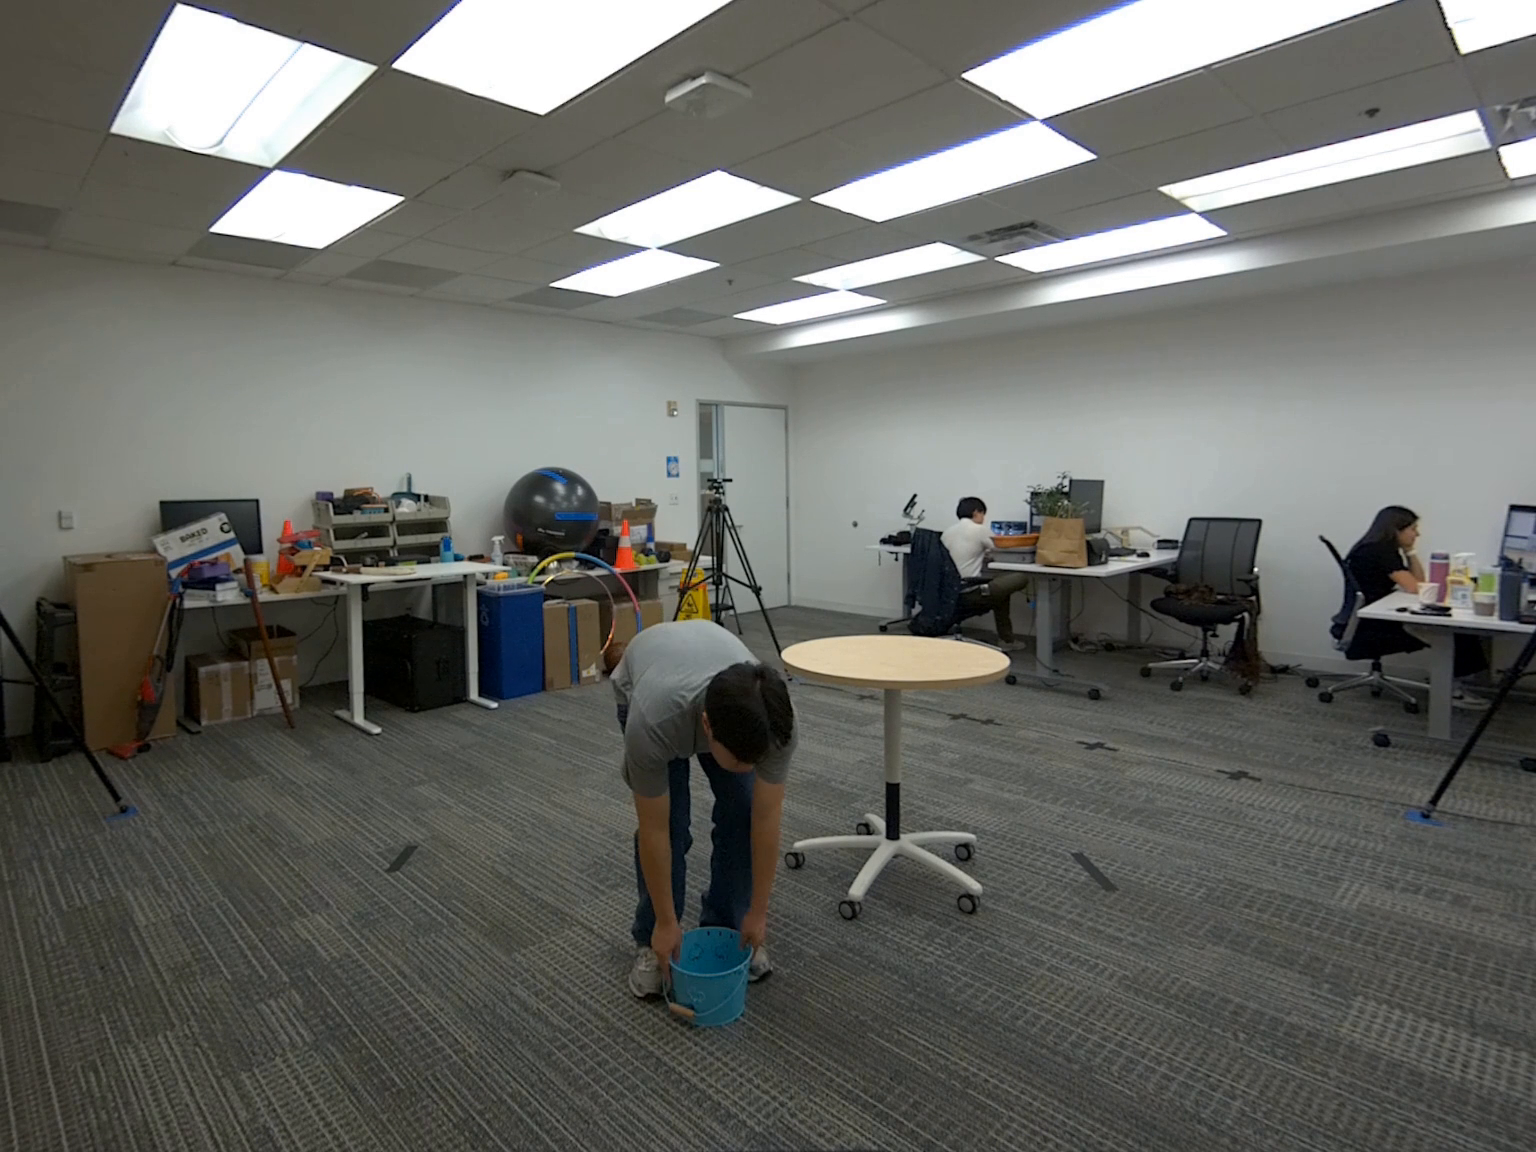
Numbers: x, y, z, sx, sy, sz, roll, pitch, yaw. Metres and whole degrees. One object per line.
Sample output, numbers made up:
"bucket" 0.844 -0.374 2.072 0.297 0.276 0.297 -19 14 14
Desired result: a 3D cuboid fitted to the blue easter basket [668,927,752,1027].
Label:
"blue easter basket" -0.156 1.061 2.280 0.243 0.155 0.245 -2 7 -1
